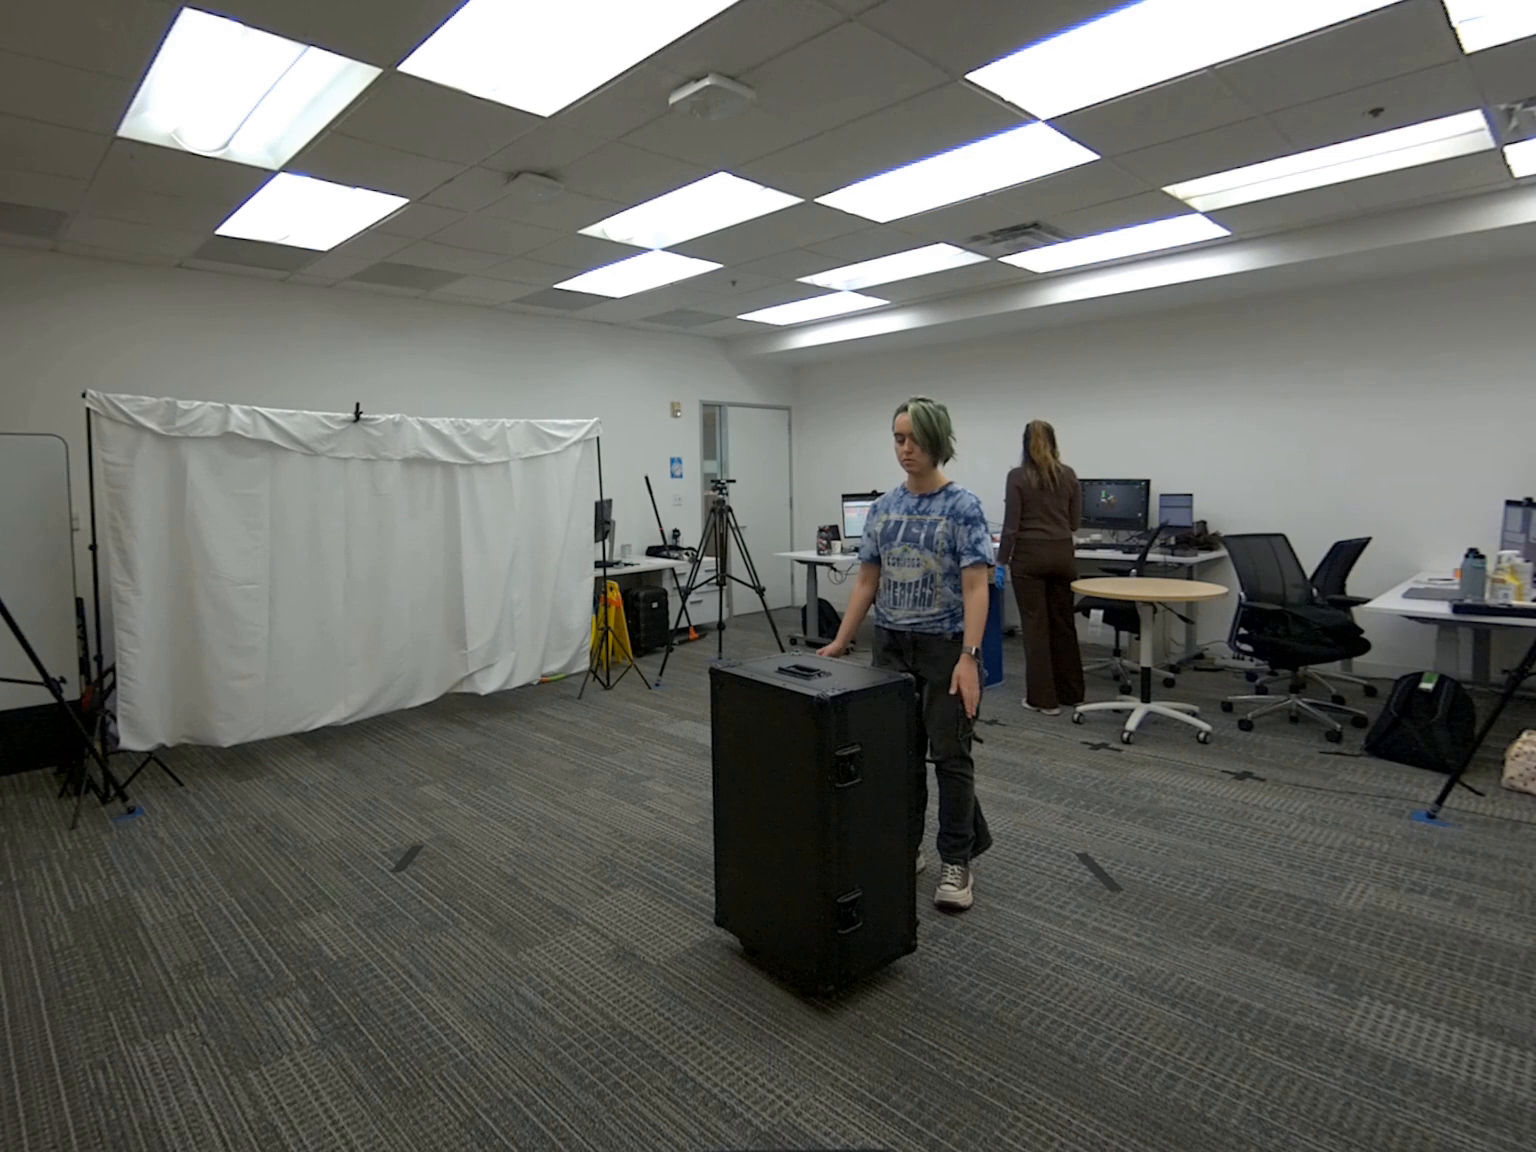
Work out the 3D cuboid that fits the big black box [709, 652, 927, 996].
[{"bbox_3d":[0.133,0.692,2.464,0.386,0.859,0.537,-4,5,-39],"label":"big black box"}]
